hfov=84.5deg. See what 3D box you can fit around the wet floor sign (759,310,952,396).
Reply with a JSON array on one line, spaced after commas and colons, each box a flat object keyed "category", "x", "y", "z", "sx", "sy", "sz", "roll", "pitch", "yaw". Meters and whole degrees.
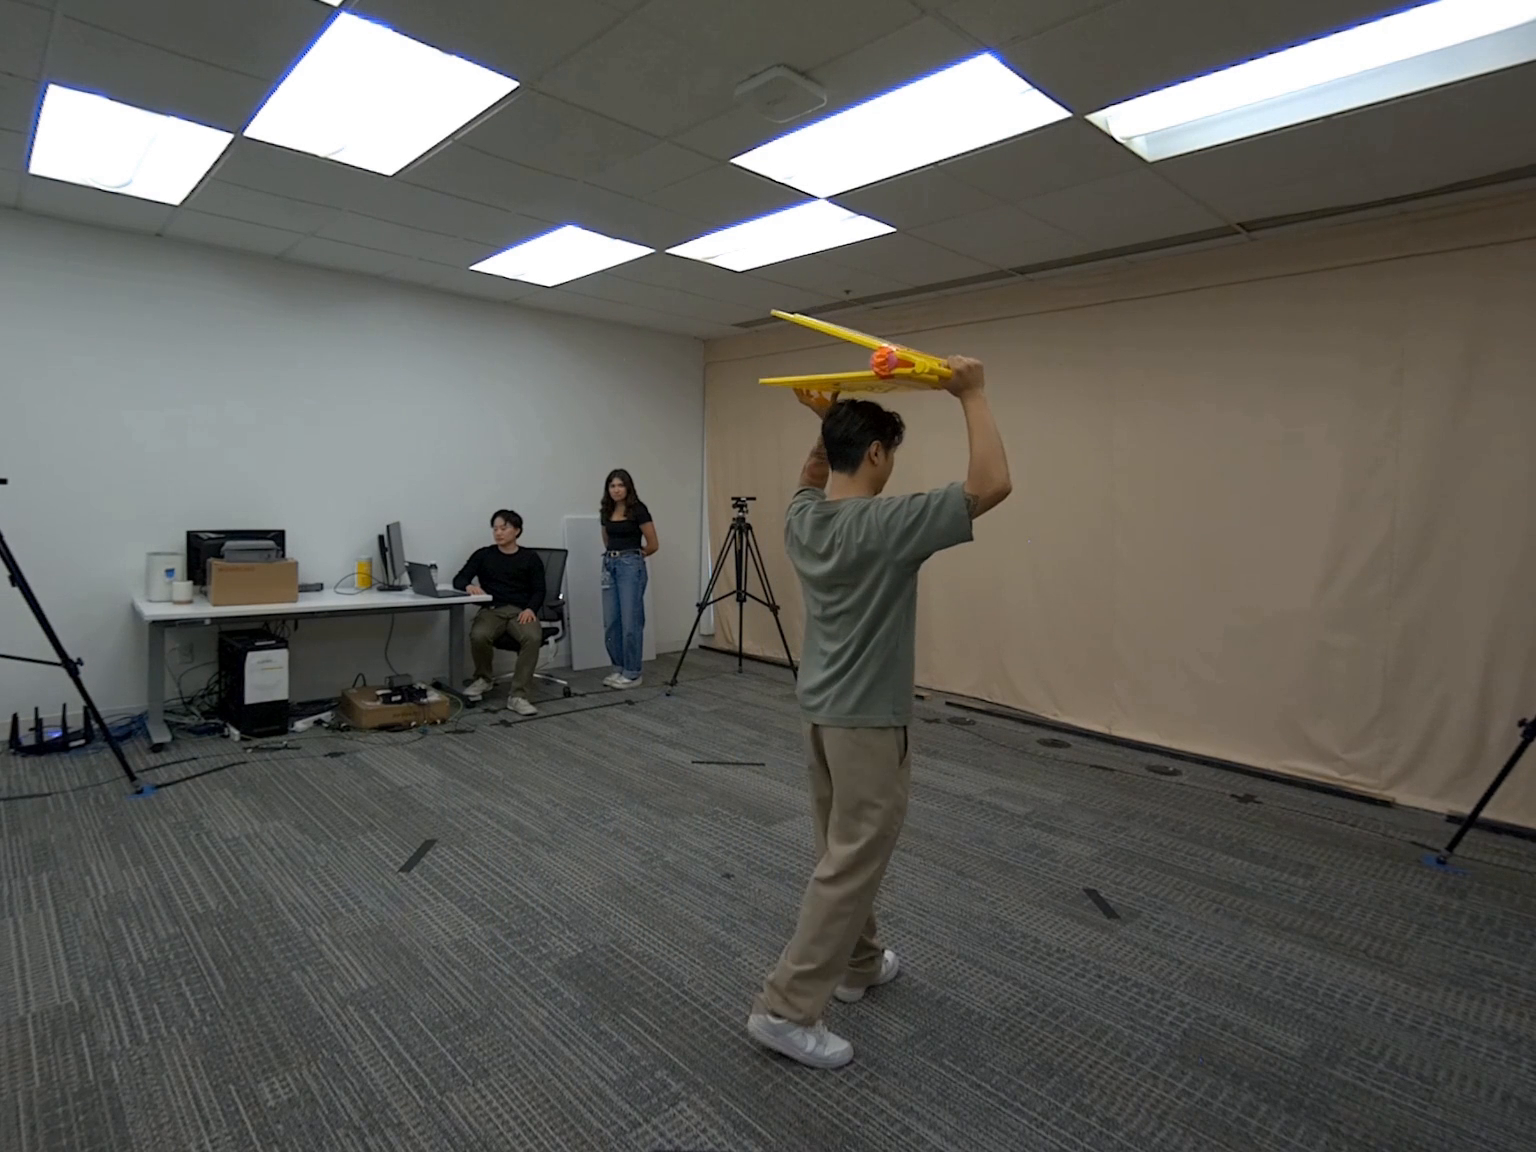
[{"category": "wet floor sign", "x": 0.278, "y": -0.570, "z": 2.263, "sx": 0.275, "sy": 0.288, "sz": 0.665, "roll": 5, "pitch": 12, "yaw": -35}]
